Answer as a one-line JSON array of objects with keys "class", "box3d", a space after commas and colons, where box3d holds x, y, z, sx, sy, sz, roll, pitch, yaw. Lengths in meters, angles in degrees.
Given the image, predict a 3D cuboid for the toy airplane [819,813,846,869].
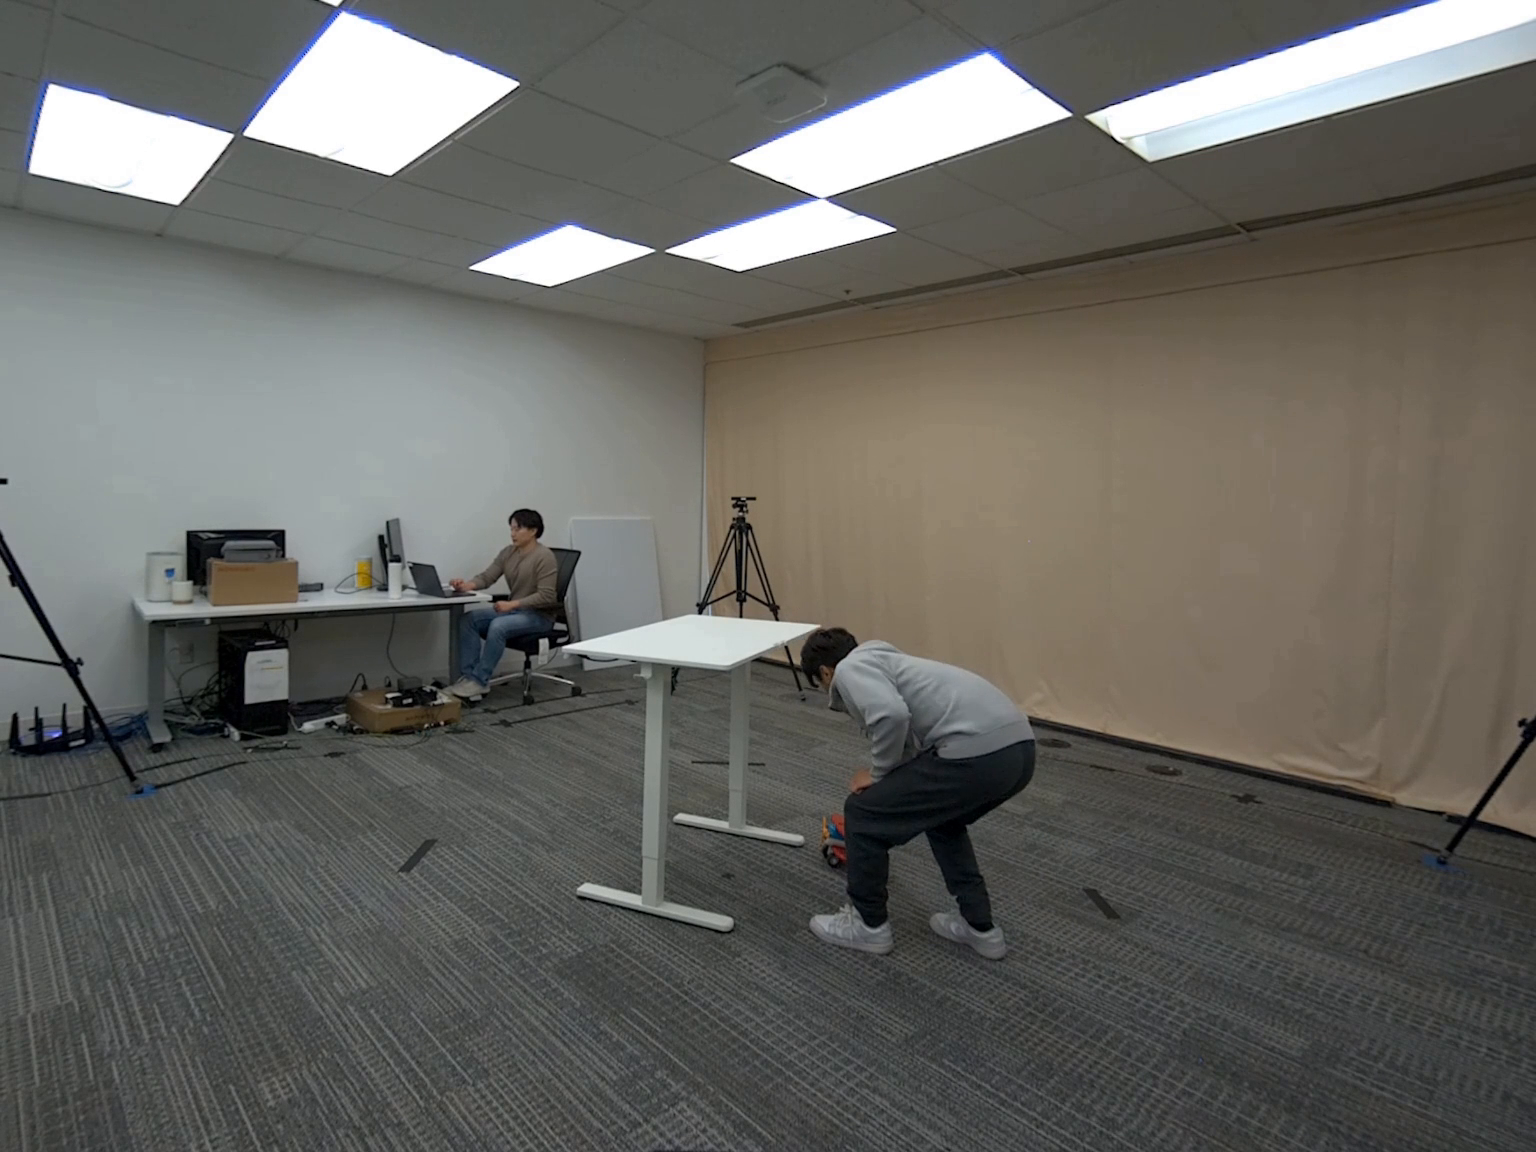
[{"class": "toy airplane", "box3d": [0.318, 1.028, 3.261, 0.253, 0.156, 0.257, -2, 6, -36]}]
